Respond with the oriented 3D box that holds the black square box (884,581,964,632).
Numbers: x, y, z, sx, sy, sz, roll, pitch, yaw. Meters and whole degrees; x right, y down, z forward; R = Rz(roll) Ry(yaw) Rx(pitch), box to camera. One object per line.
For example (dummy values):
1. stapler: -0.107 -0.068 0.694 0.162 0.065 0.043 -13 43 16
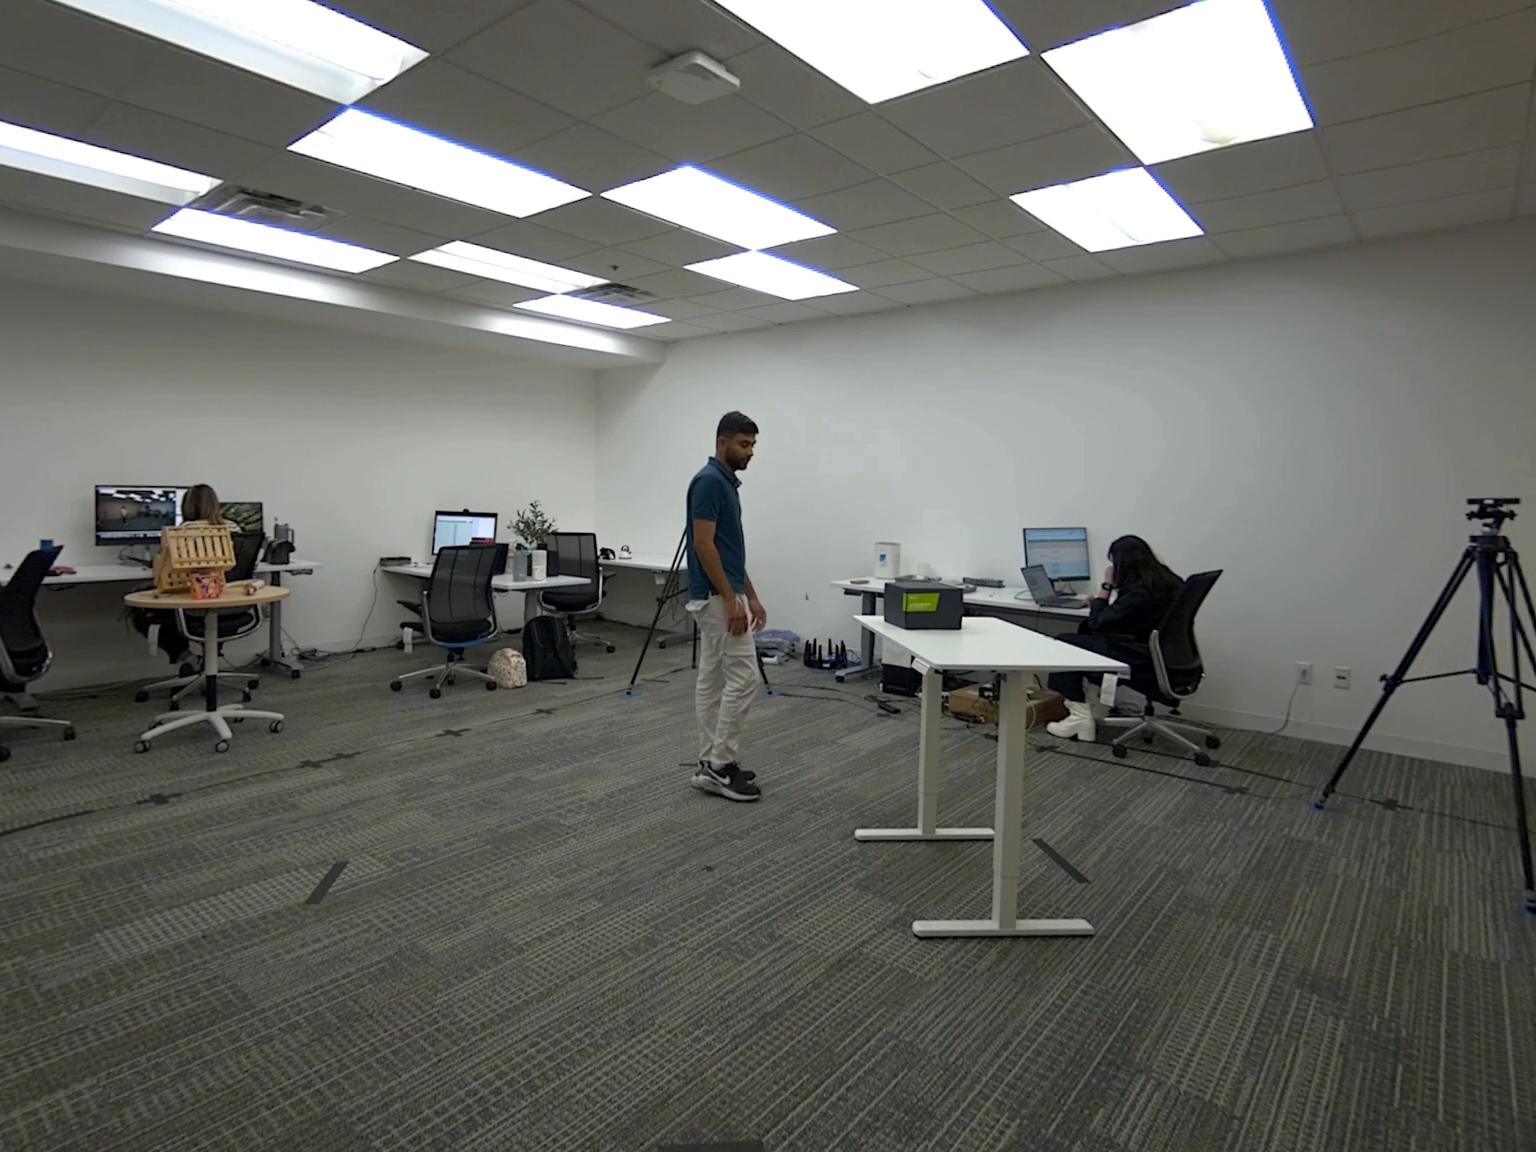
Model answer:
1. black square box: 0.596 0.112 3.246 0.226 0.155 0.219 3 4 -8
